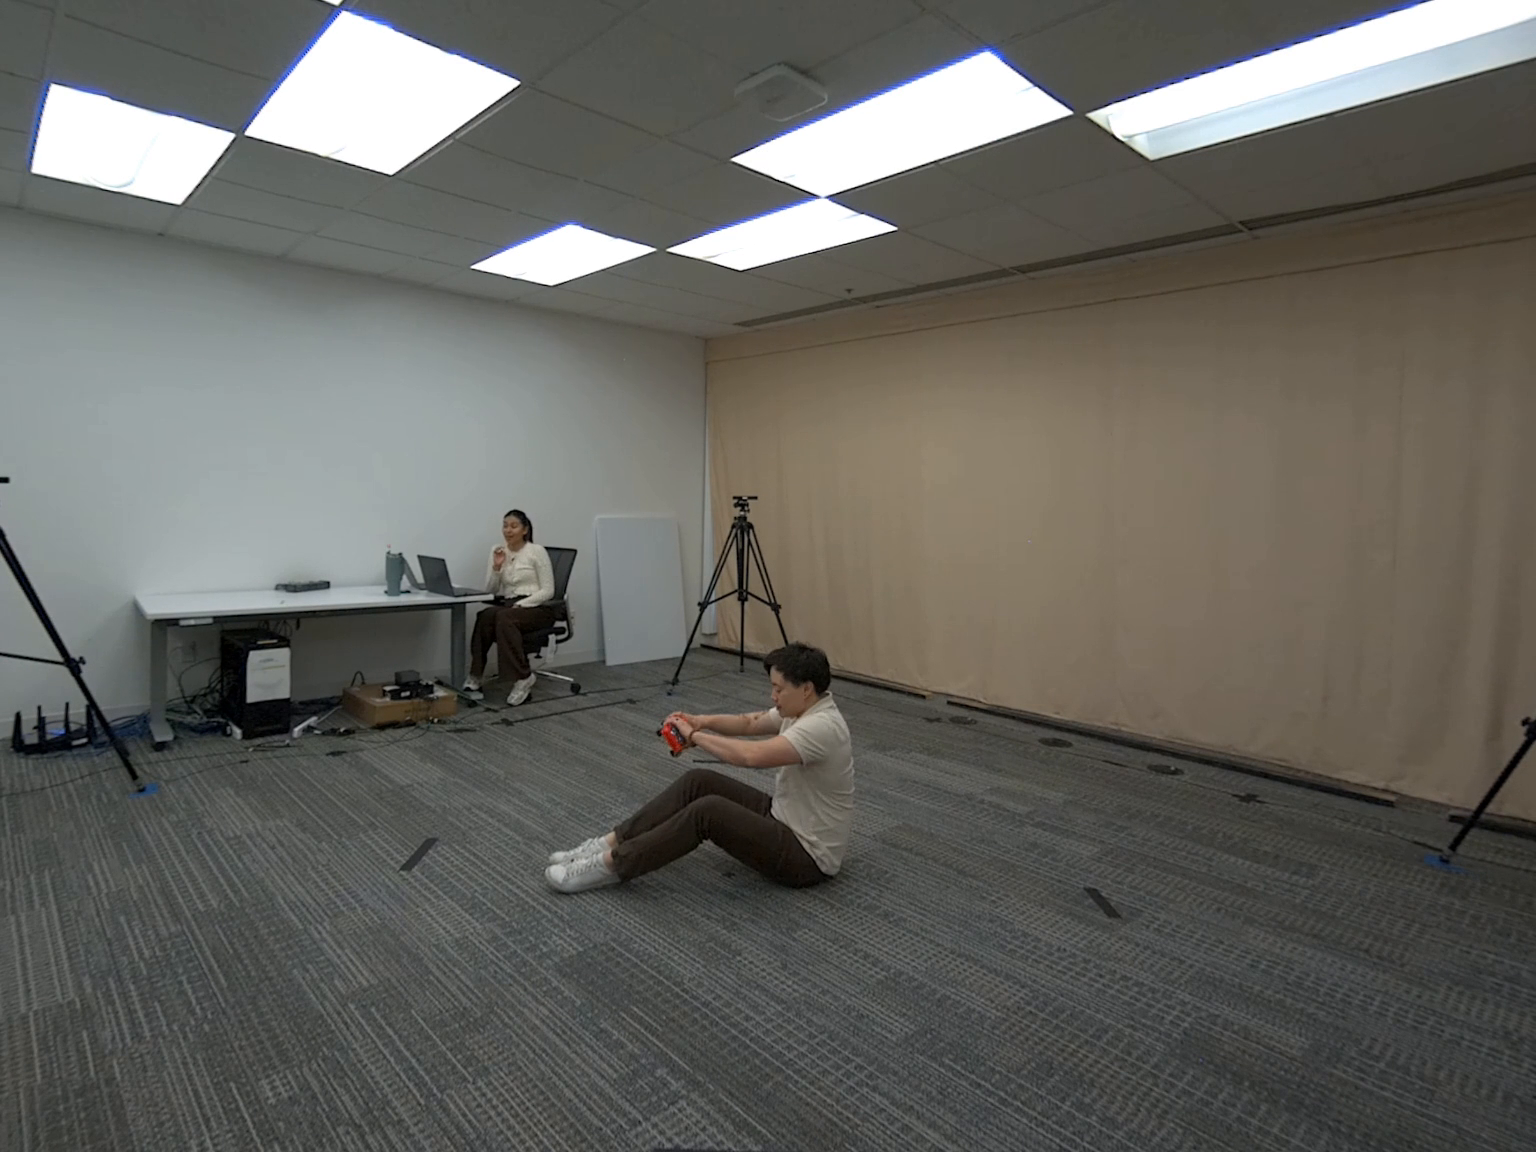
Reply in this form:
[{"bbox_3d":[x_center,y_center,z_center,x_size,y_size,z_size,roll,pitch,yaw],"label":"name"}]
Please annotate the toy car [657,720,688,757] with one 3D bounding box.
[{"bbox_3d":[-0.338,0.586,3.085,0.083,0.130,0.253,-37,-1,14],"label":"toy car"}]
